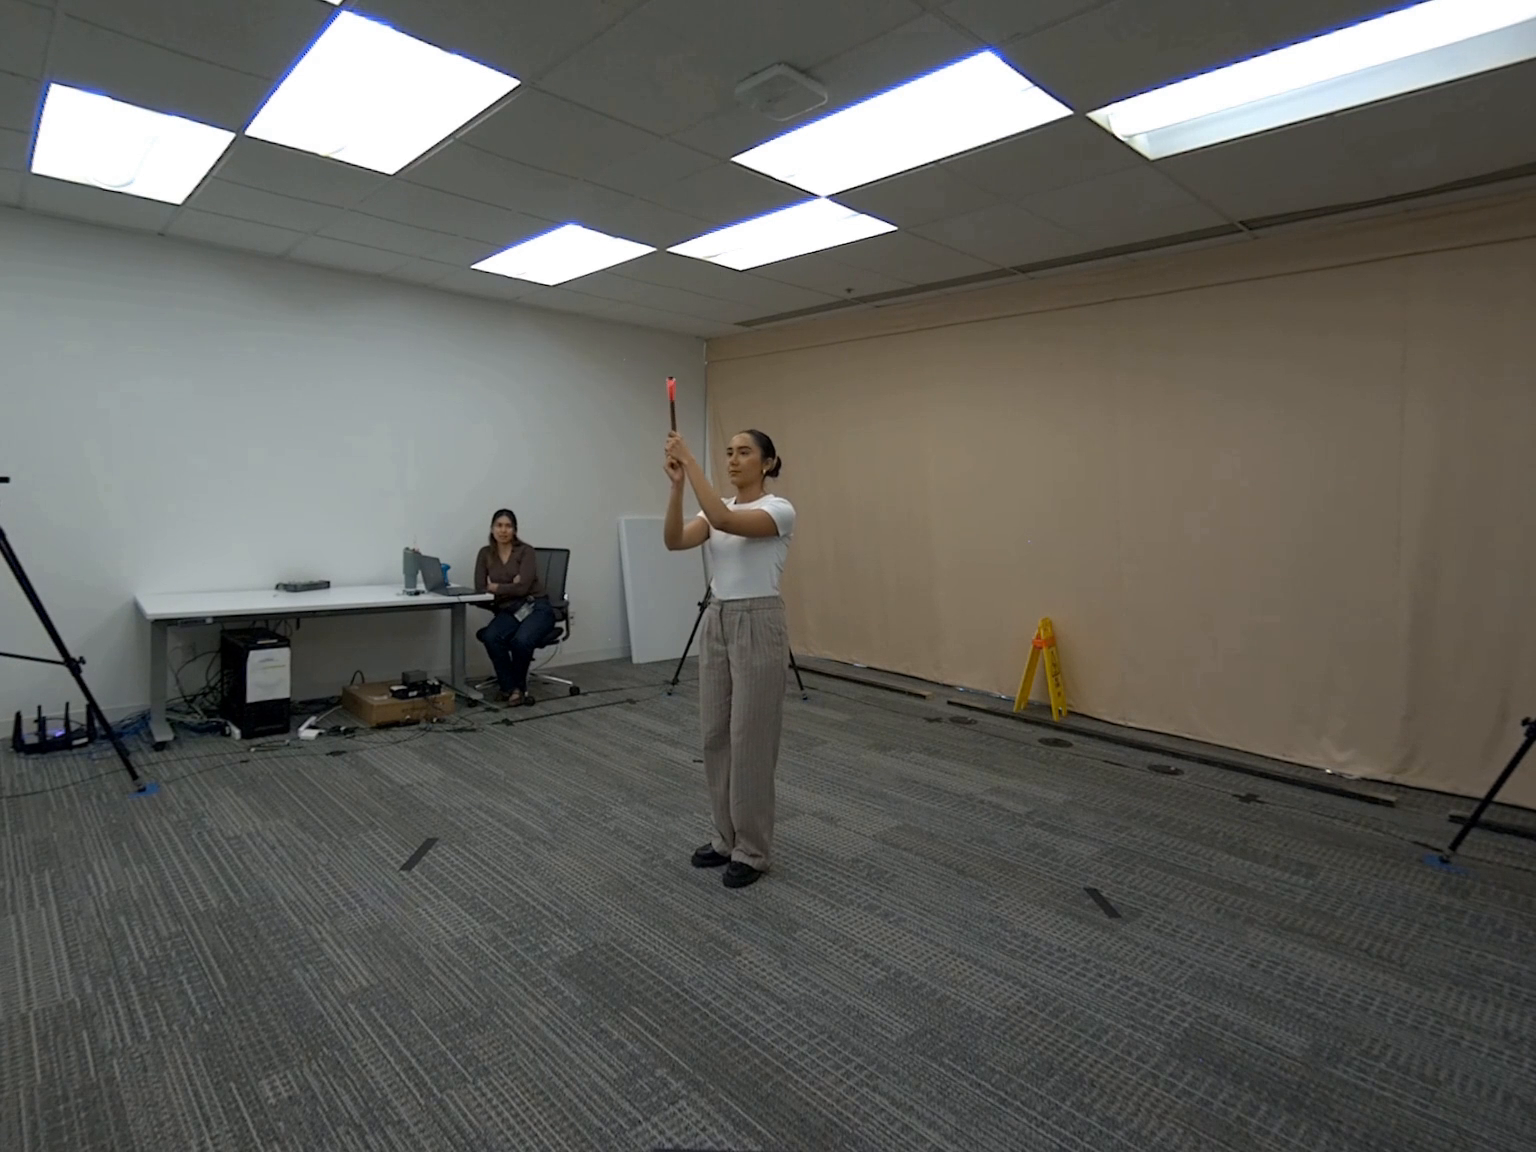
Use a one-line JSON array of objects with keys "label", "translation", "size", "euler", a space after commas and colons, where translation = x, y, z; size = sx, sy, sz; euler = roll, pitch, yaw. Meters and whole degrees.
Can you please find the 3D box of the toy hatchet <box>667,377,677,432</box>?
[{"label": "toy hatchet", "translation": [-0.336, -0.557, 2.891], "size": [0.029, 0.270, 0.130], "euler": [-3, -2, 1]}]
